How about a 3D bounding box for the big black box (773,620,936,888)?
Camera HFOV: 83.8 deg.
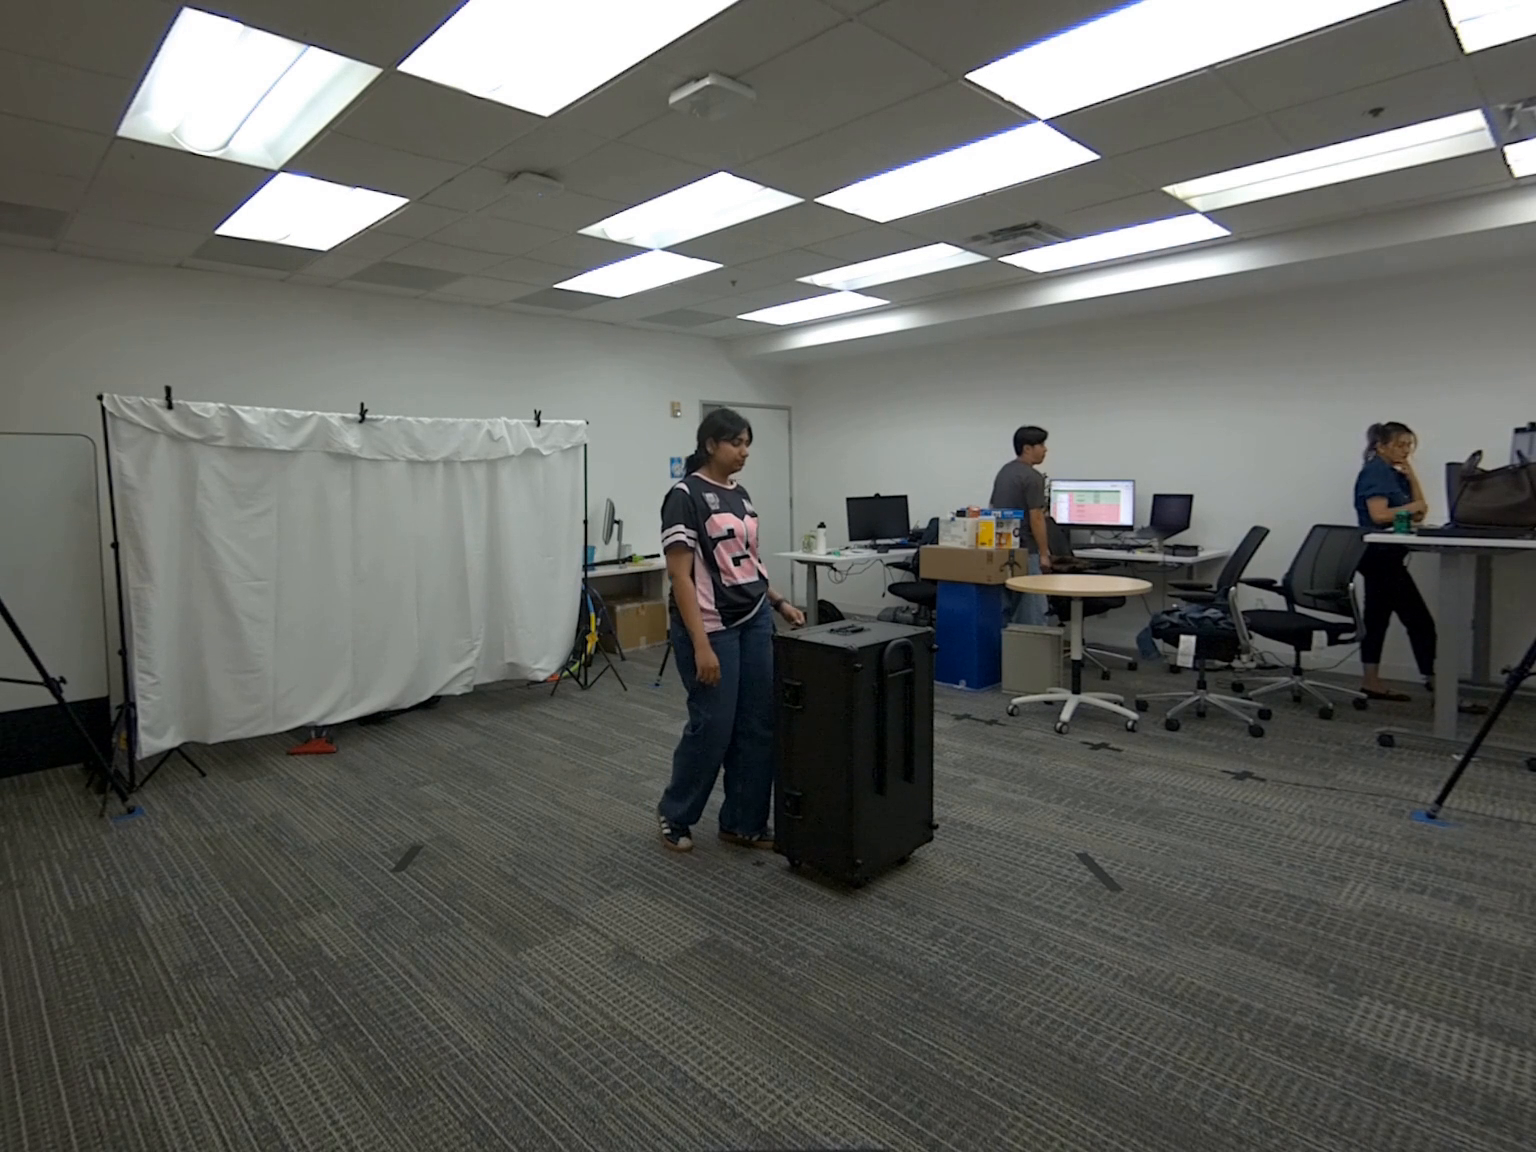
[{"bbox_3d":[0.320,0.625,3.058,0.397,0.865,0.509,3,6,45],"label":"big black box"}]
